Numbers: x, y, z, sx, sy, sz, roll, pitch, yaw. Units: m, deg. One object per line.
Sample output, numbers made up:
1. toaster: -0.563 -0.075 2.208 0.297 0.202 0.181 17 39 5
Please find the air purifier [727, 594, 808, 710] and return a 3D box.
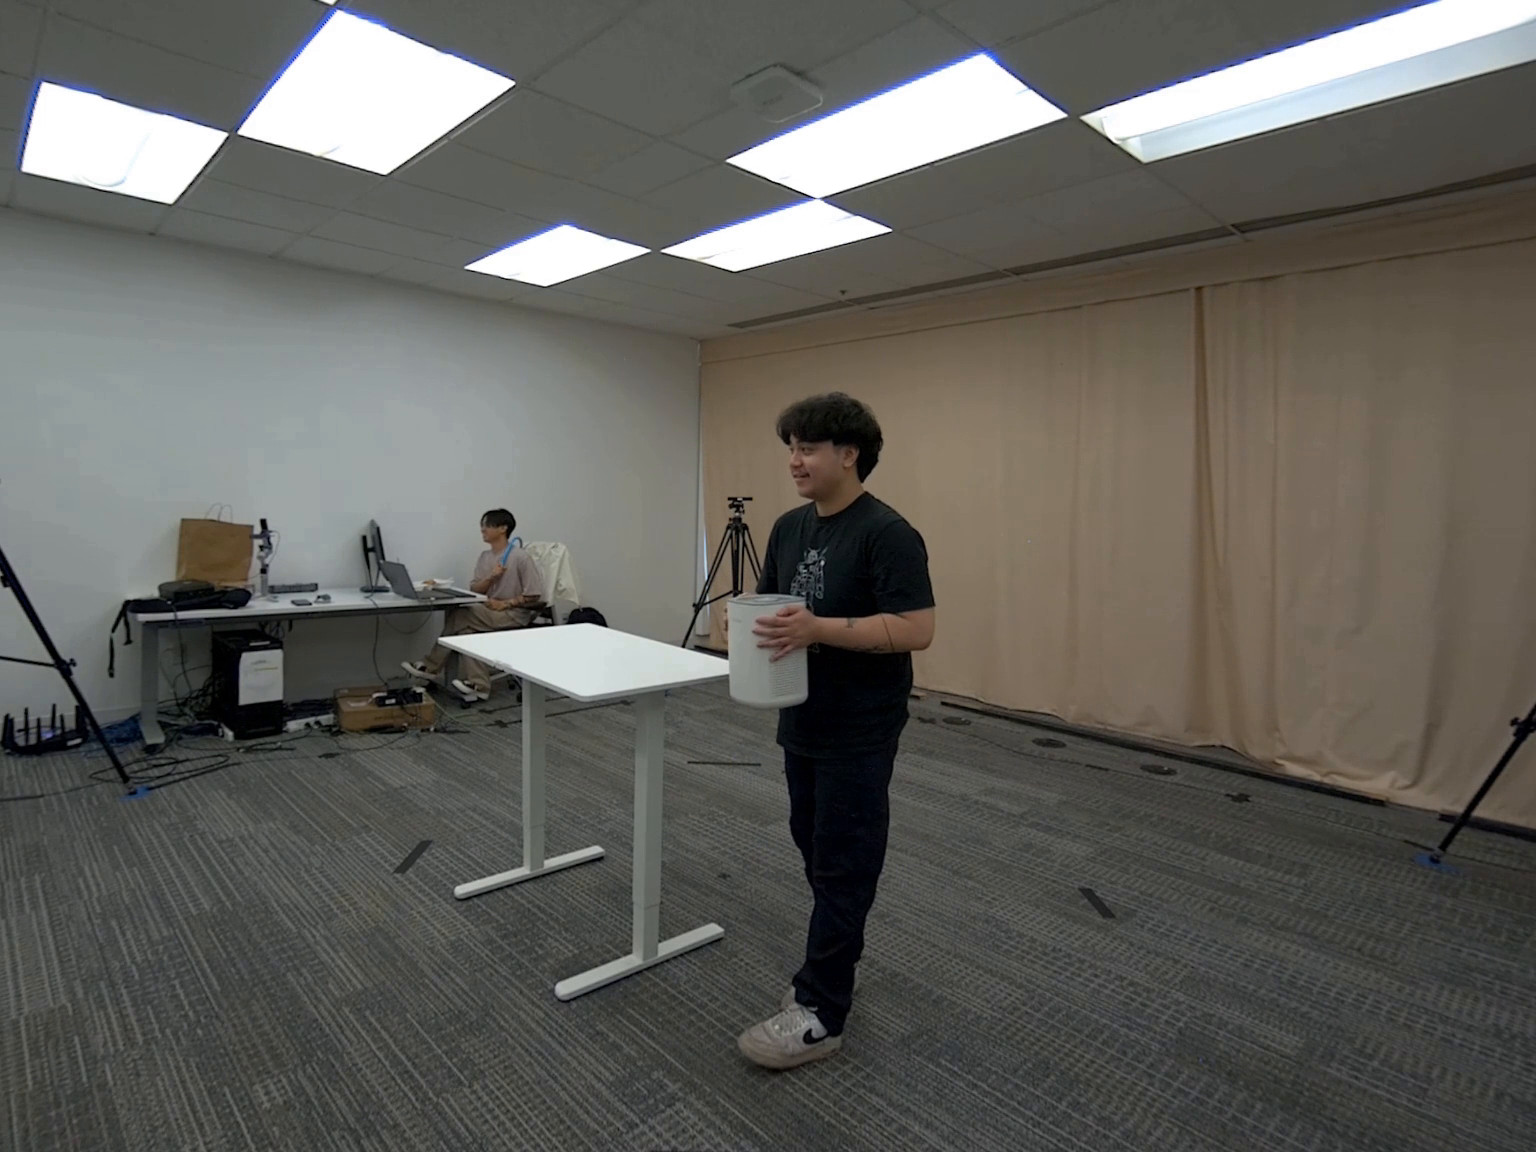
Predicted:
1. air purifier: -0.001 0.190 2.113 0.168 0.265 0.175 -3 3 -34
